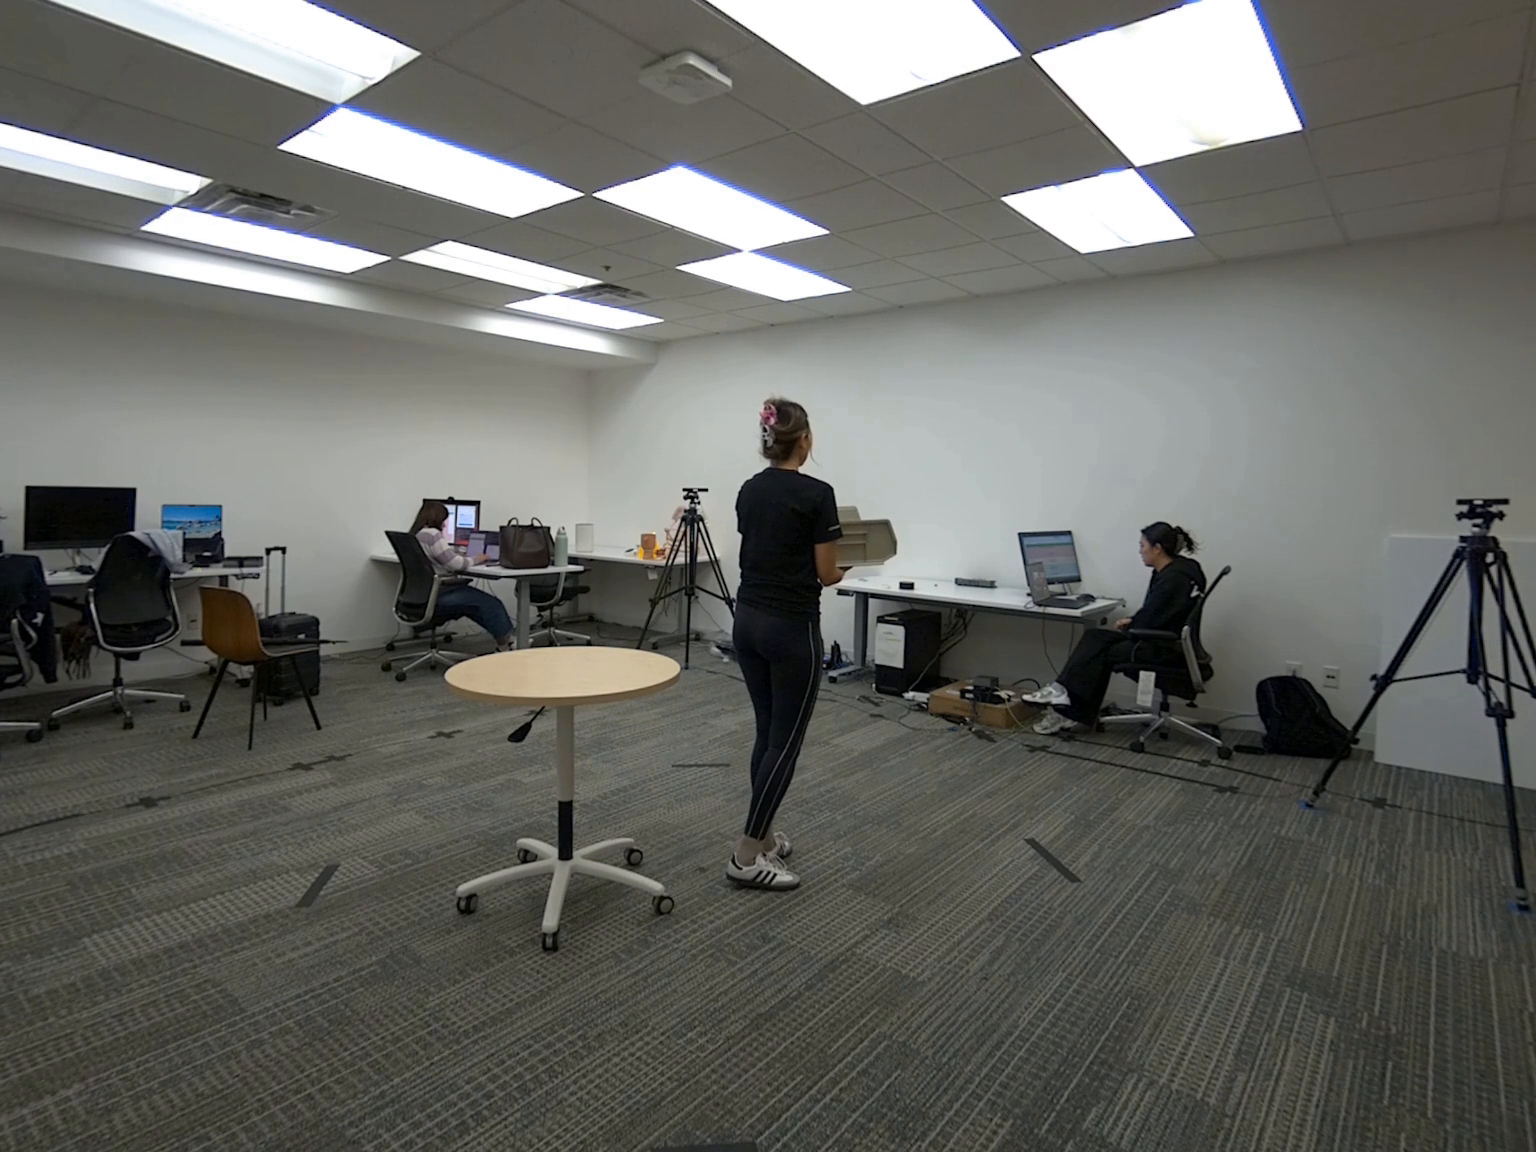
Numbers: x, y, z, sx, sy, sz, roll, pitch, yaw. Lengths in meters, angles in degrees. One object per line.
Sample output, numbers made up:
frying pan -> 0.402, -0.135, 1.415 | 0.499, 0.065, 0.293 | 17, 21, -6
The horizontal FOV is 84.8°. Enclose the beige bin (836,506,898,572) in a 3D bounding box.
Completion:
beige bin -> 0.267, -0.170, 3.459 | 0.375, 0.187, 0.429 | -3, 10, -7
